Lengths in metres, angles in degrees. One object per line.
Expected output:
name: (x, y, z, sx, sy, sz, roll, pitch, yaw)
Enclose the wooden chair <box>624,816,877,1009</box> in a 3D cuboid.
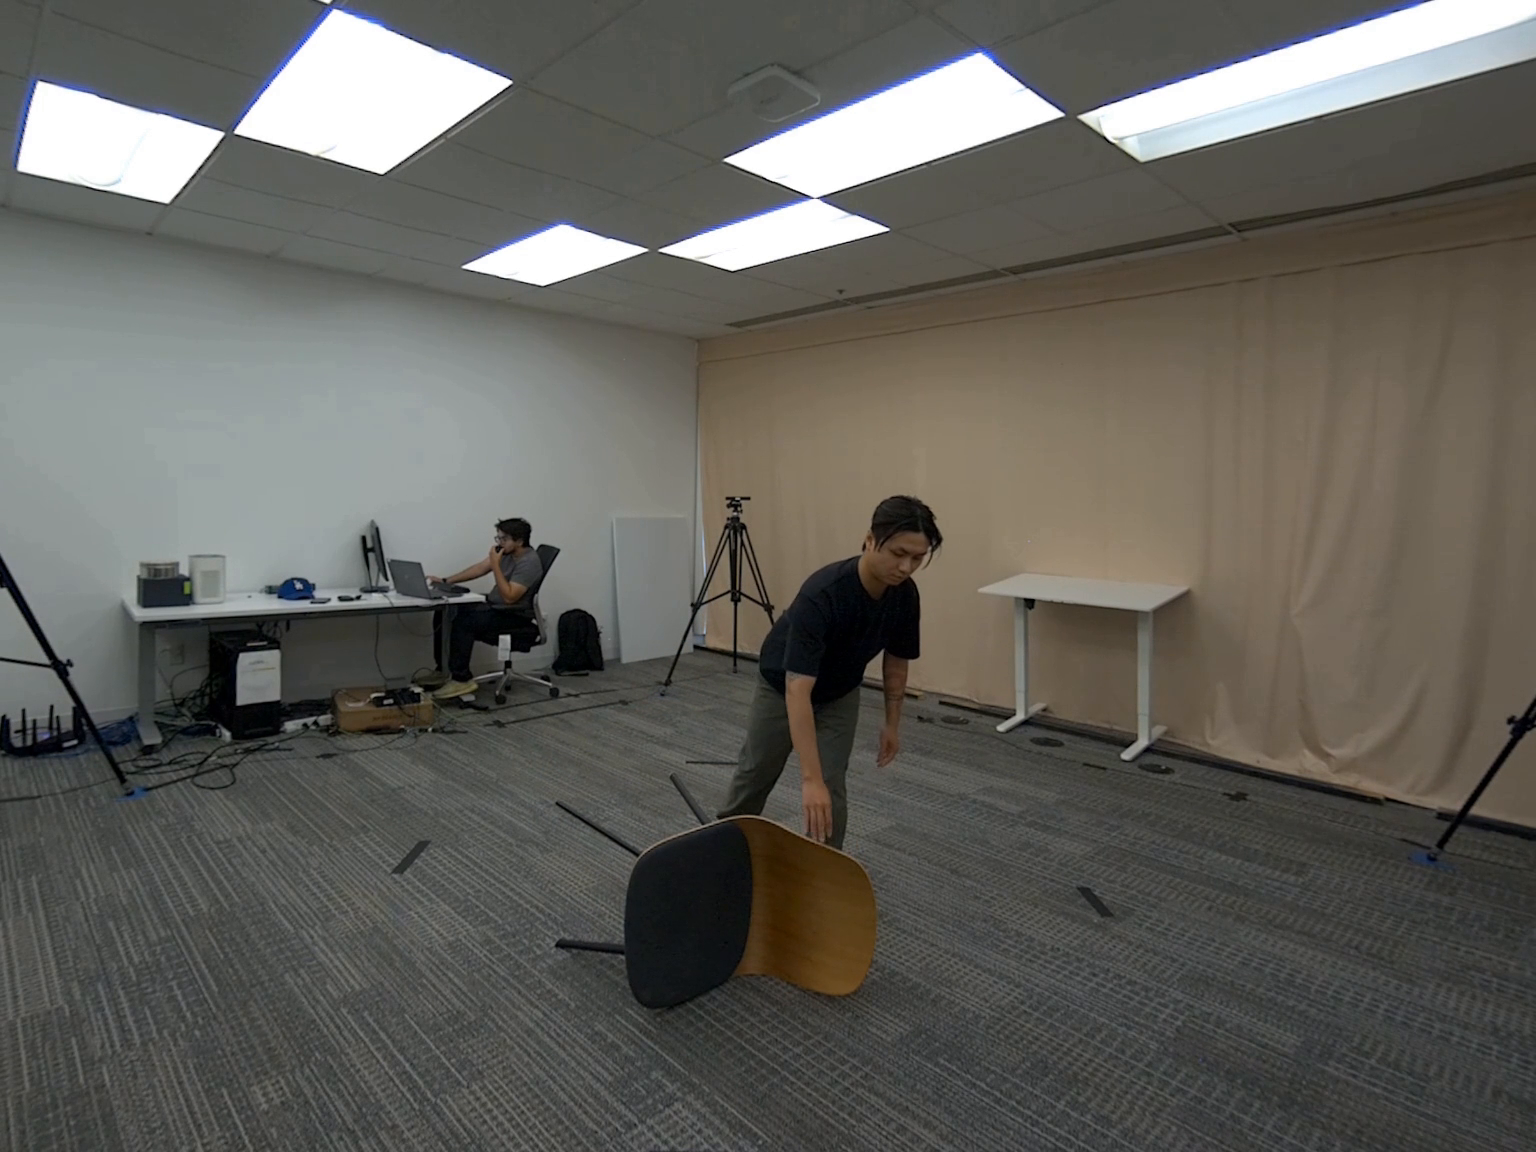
wooden chair: (-0.206, 0.940, 2.403, 0.900, 0.477, 0.511, 6, 5, 43)
